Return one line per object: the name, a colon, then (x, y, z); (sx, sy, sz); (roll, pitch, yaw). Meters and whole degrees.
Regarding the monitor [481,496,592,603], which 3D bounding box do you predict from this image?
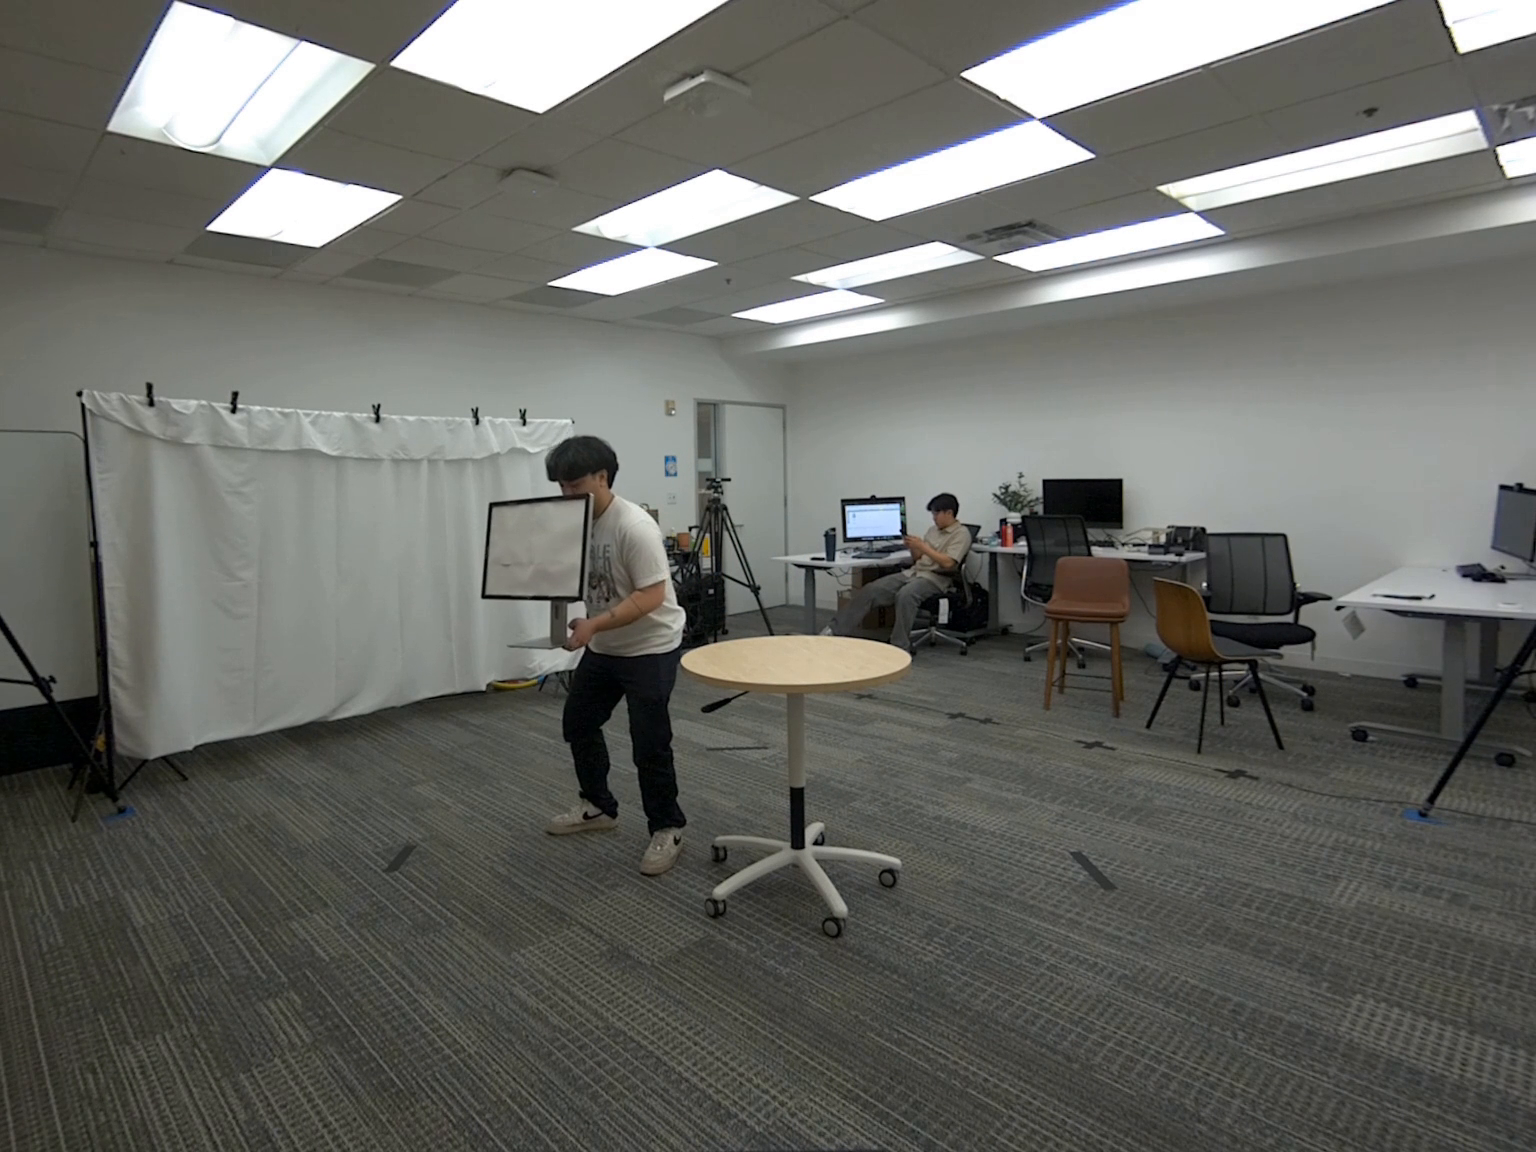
monitor: (-0.783, -0.004, 3.078); (0.581, 0.554, 0.204); (-2, -1, 39)
